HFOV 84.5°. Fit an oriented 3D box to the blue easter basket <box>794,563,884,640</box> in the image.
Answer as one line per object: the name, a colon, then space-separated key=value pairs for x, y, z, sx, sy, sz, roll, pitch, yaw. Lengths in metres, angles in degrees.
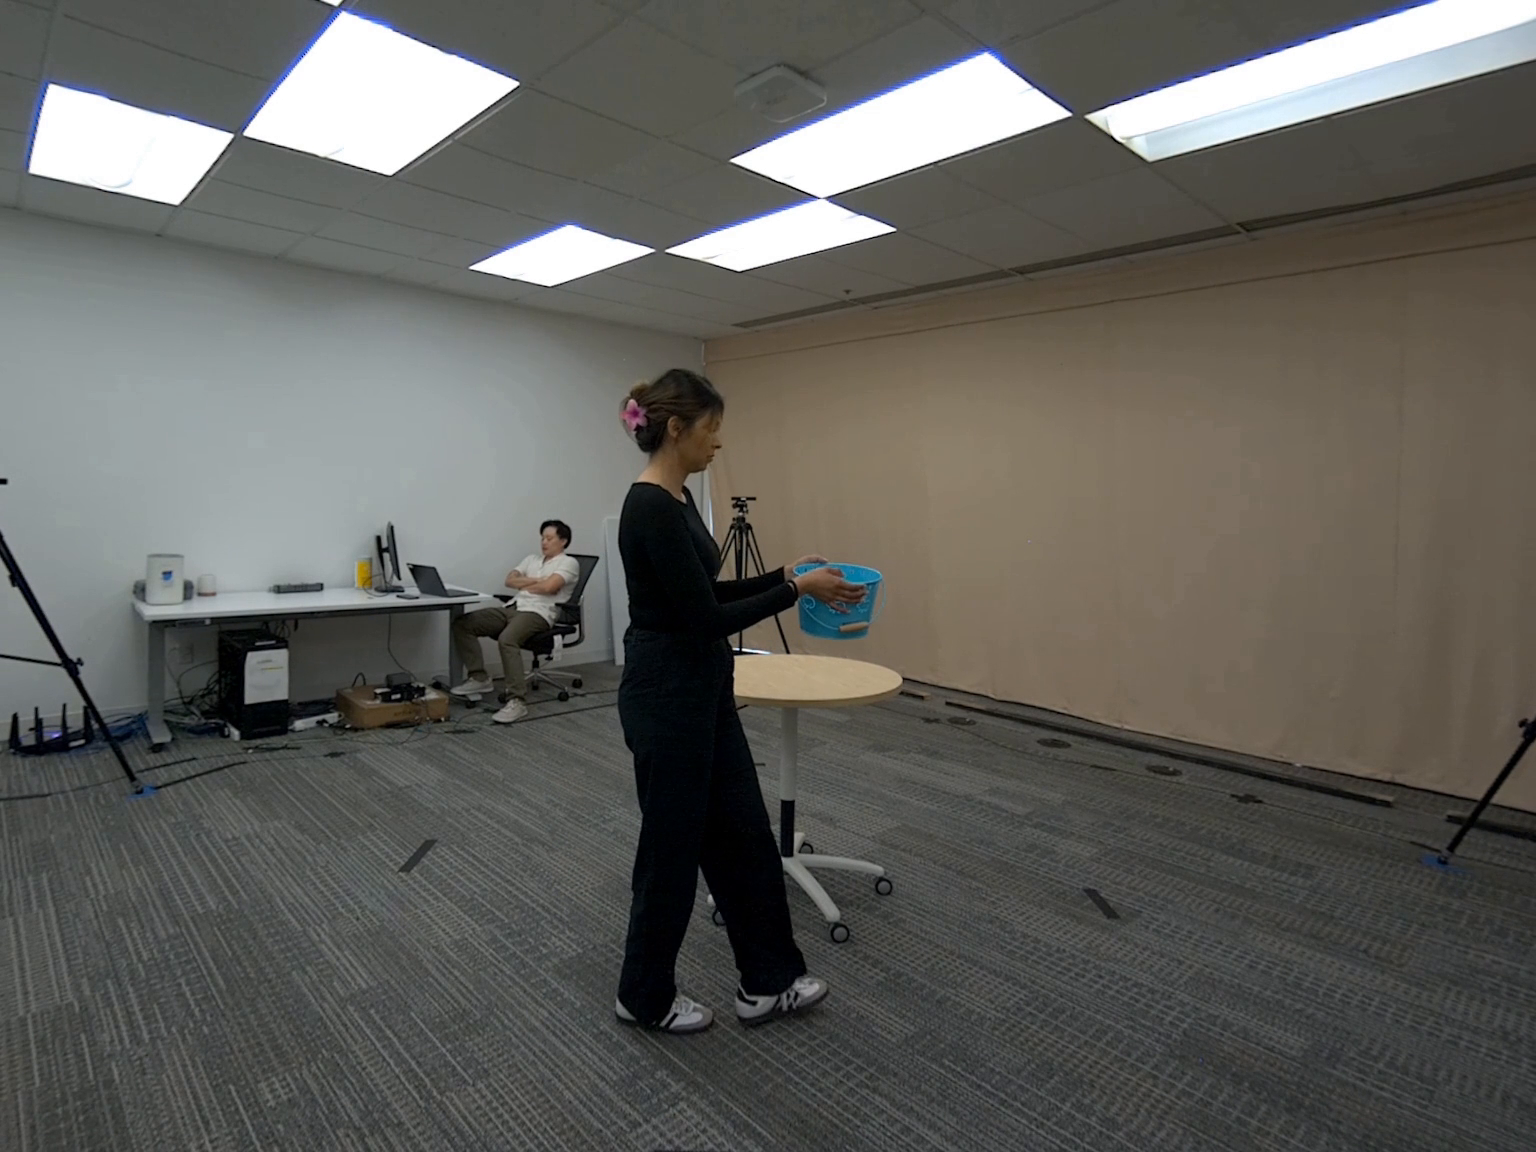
blue easter basket: x=0.167 y=0.070 z=2.164 sx=0.243 sy=0.154 sz=0.246 roll=2 pitch=14 yaw=-2
